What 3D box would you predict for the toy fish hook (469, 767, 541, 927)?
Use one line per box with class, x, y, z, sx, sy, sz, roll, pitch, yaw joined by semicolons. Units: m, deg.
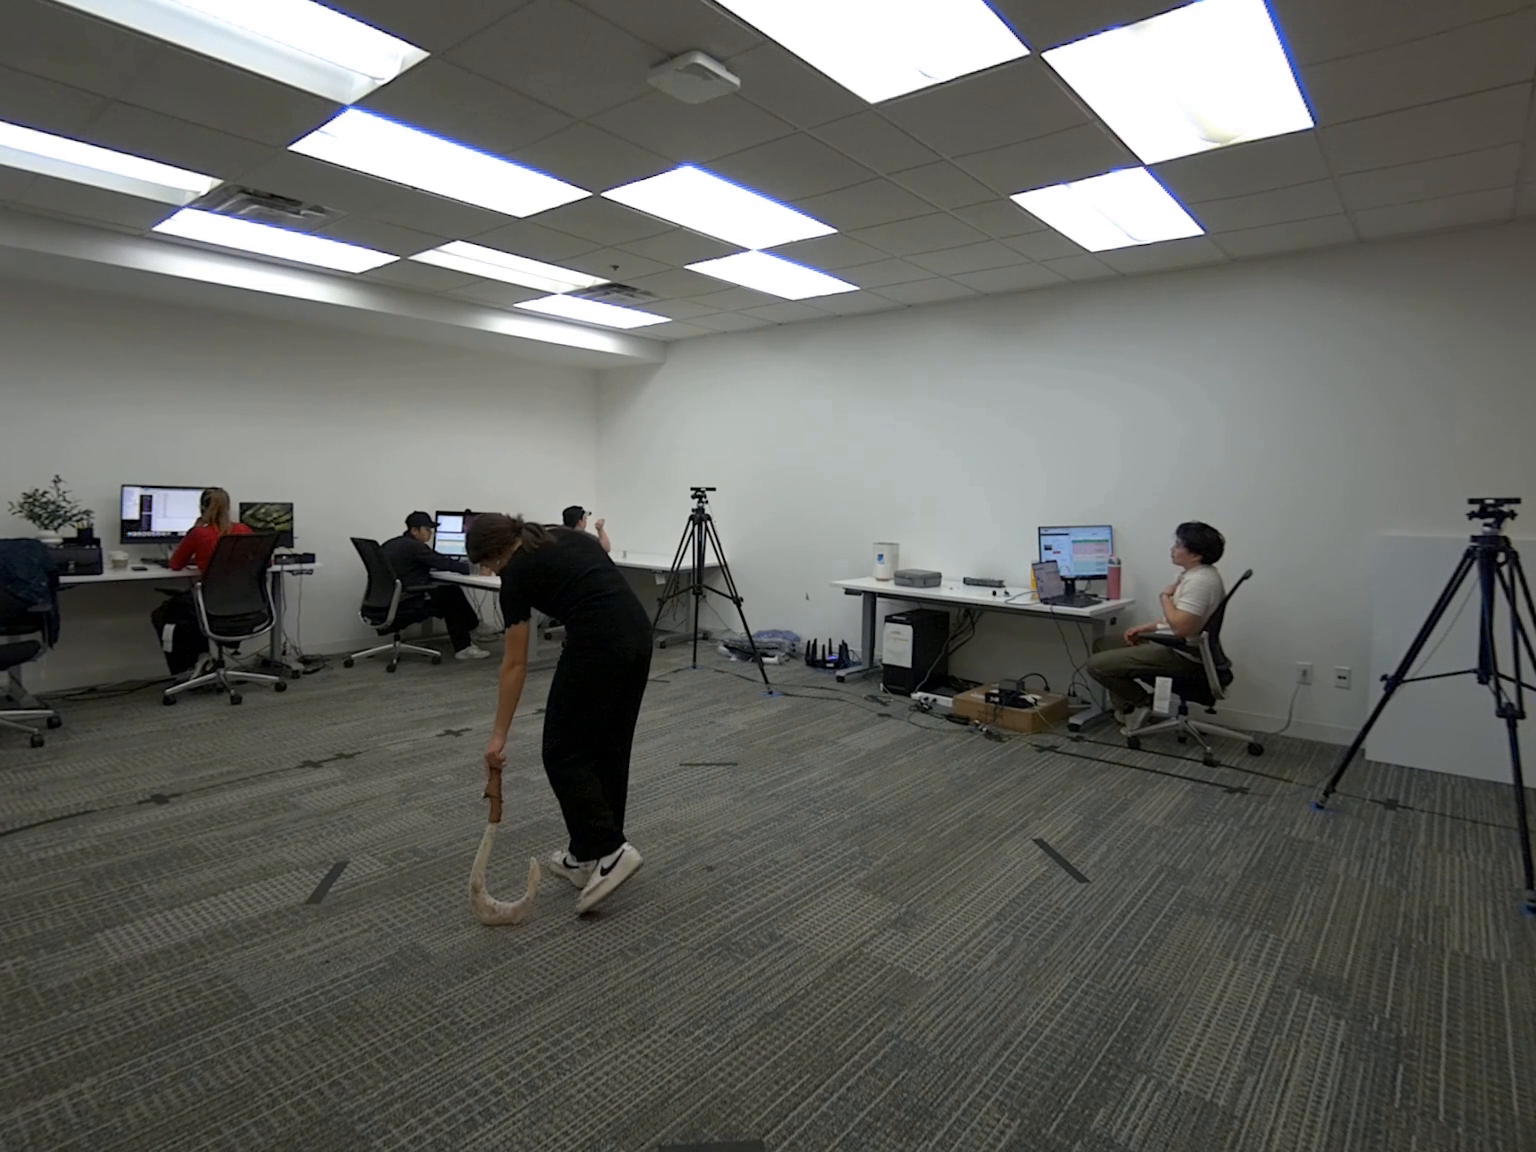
toy fish hook;-0.857;0.865;2.783;0.223;0.517;0.048;-1;-22;-7
